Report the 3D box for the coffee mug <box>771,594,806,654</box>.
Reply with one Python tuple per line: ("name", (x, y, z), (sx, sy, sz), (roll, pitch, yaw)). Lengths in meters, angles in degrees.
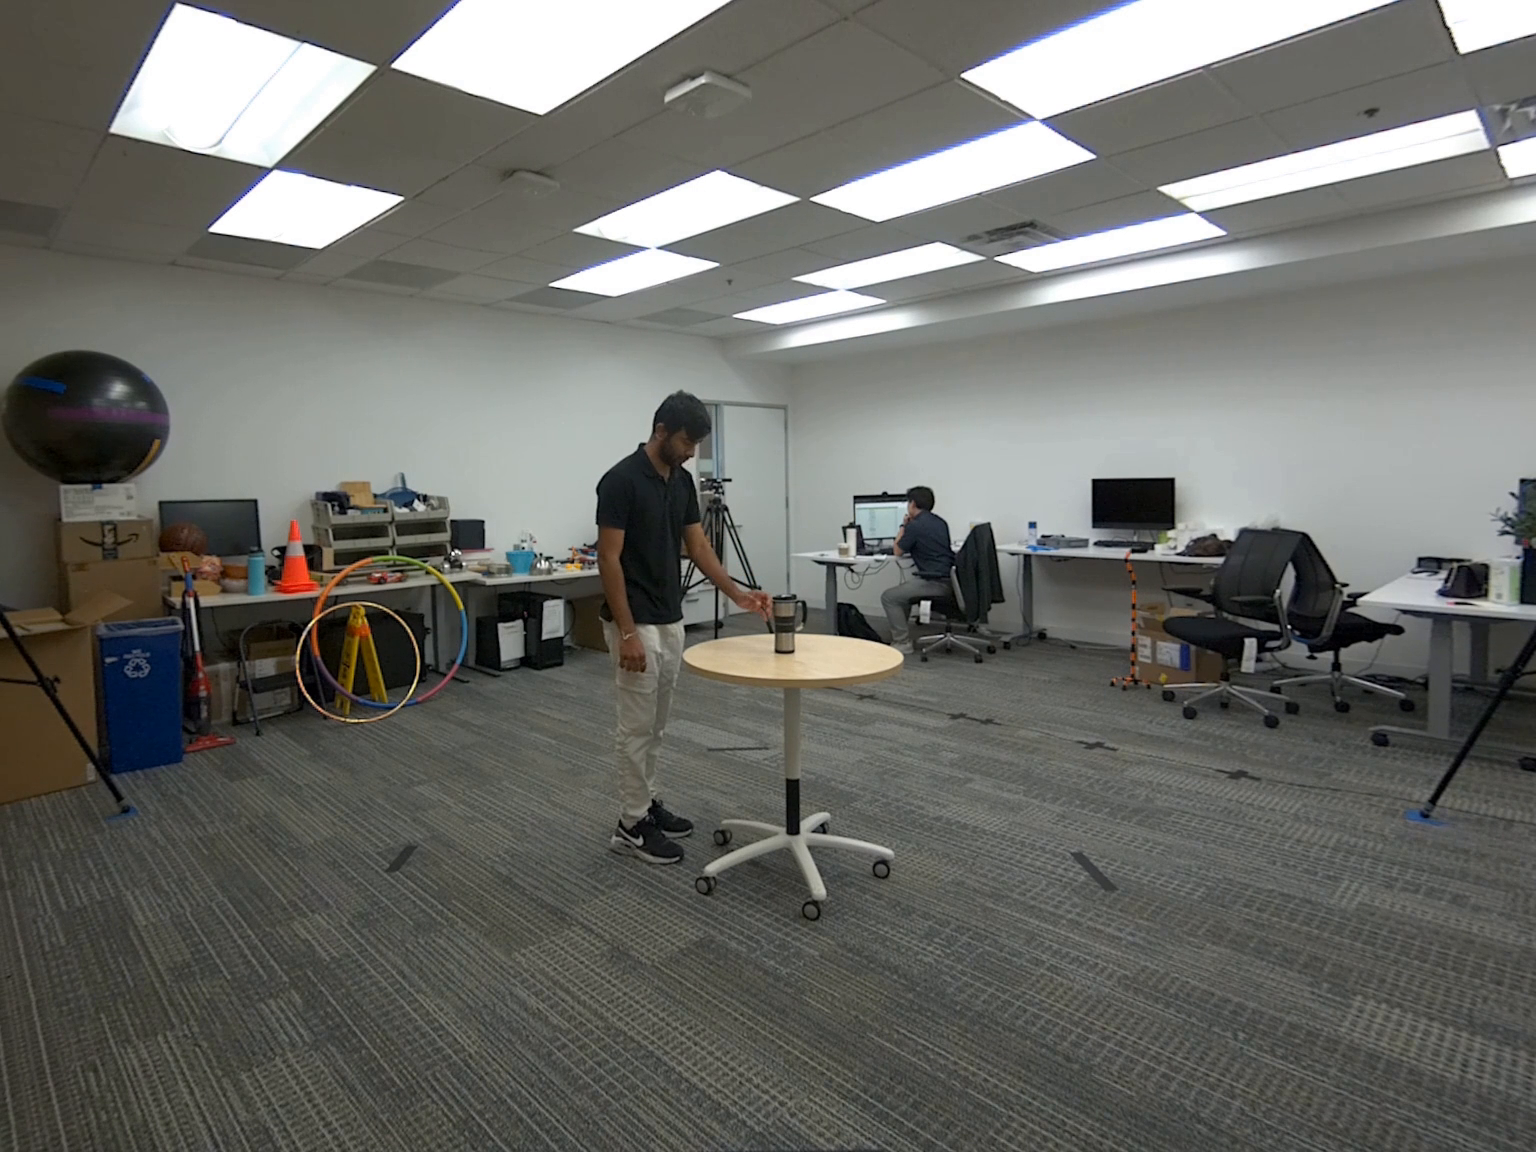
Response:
("coffee mug", (0.075, 0.169, 3.004), (0.123, 0.203, 0.087), (-3, 0, 10))
